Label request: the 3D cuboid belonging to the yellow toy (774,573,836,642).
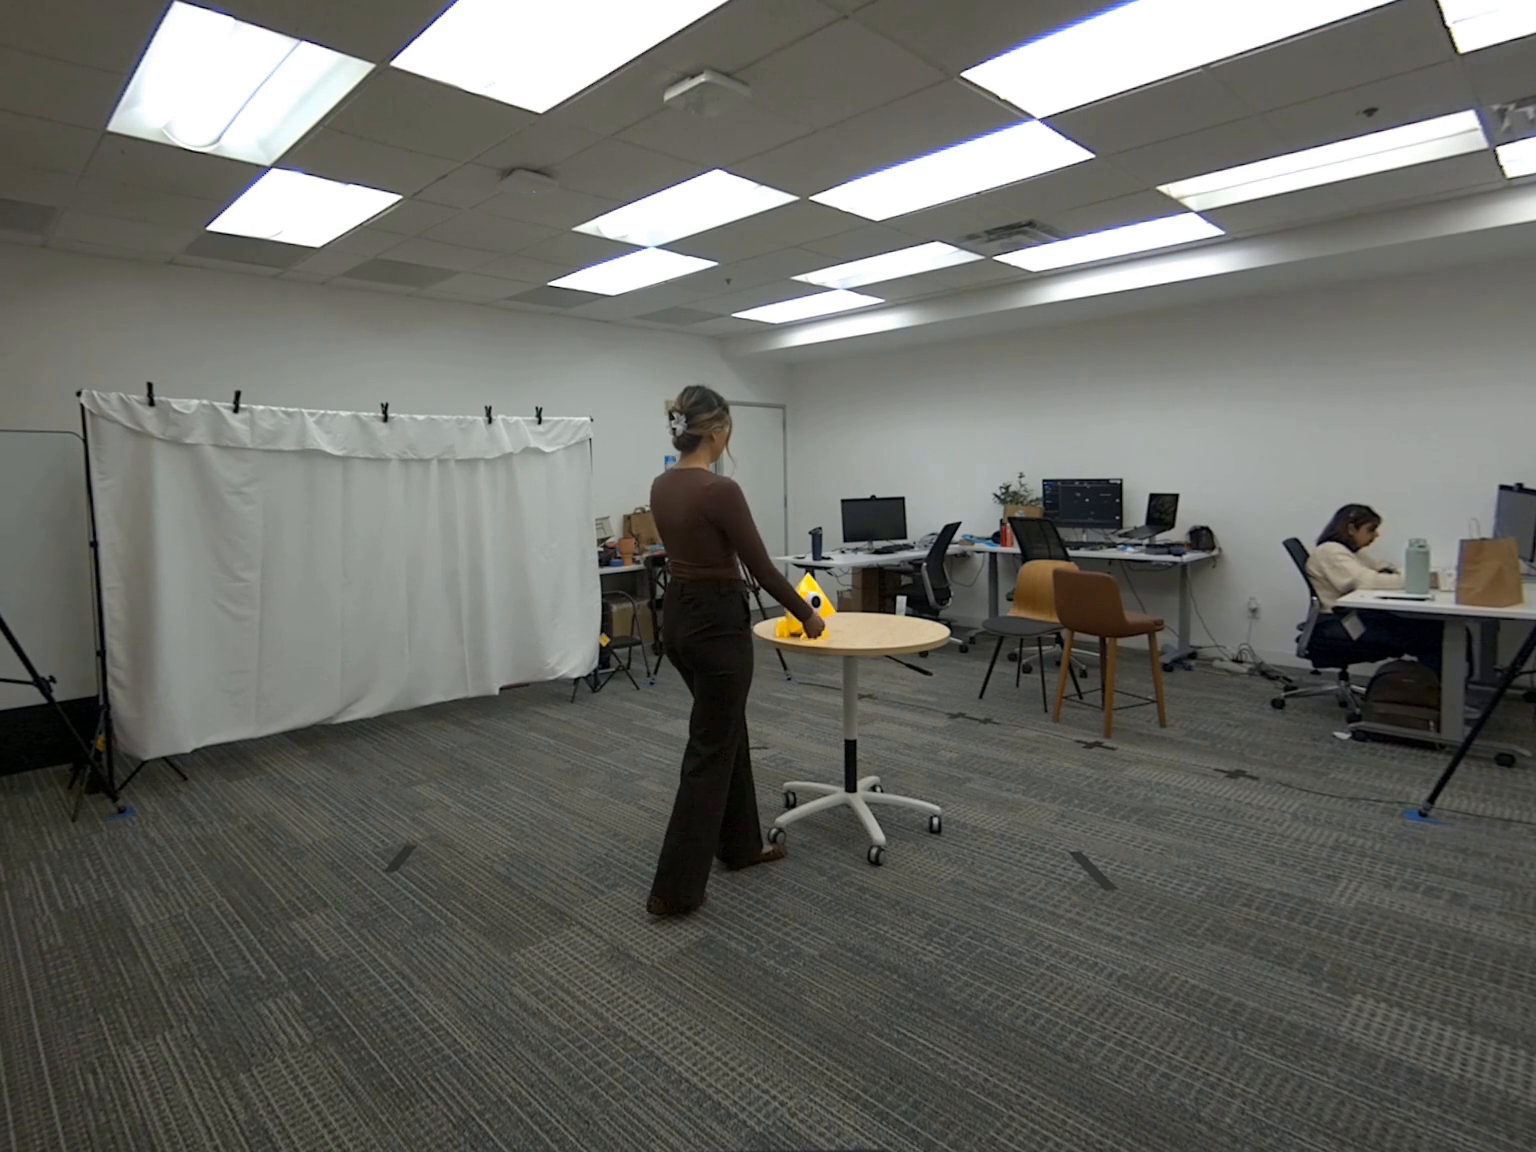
[{"bbox_3d":[0.131,0.110,3.255,0.210,0.230,0.189,1,5,28],"label":"yellow toy"}]
